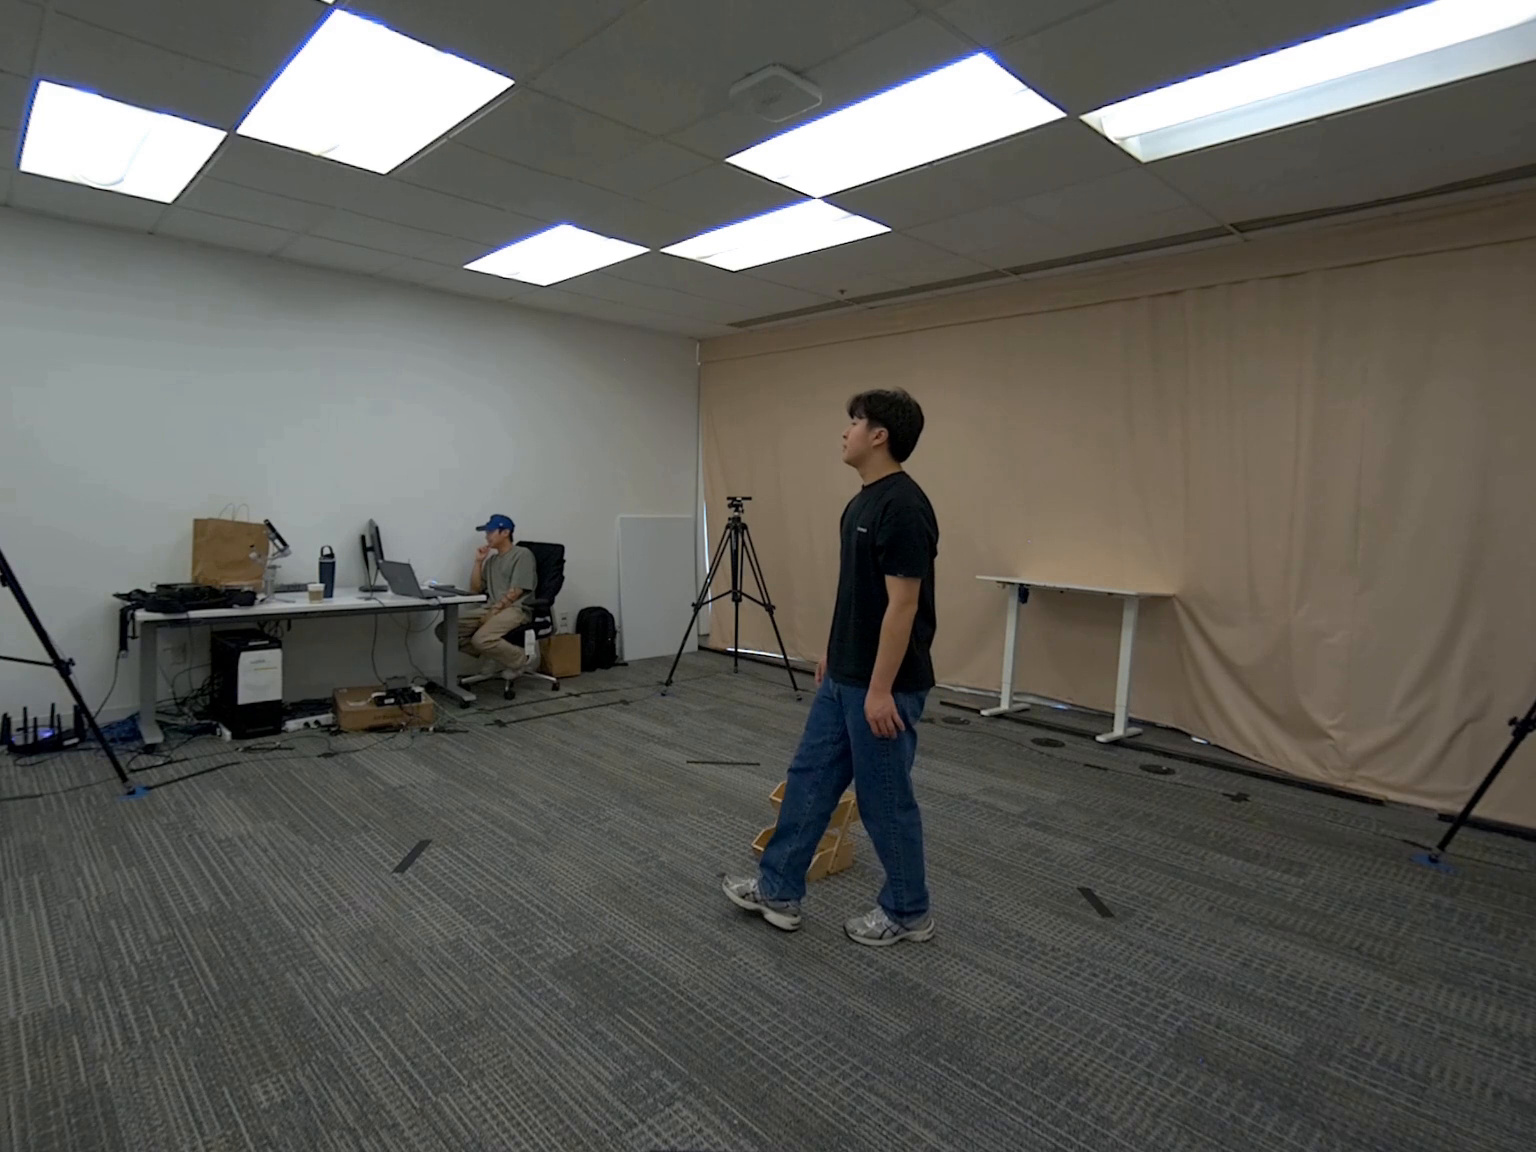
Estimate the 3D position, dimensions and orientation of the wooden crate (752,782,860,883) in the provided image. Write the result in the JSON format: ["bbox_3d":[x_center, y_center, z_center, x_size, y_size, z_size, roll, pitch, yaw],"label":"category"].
[{"bbox_3d":[0.141,0.969,3.255,0.295,0.273,0.333,-2,5,-43],"label":"wooden crate"}]
